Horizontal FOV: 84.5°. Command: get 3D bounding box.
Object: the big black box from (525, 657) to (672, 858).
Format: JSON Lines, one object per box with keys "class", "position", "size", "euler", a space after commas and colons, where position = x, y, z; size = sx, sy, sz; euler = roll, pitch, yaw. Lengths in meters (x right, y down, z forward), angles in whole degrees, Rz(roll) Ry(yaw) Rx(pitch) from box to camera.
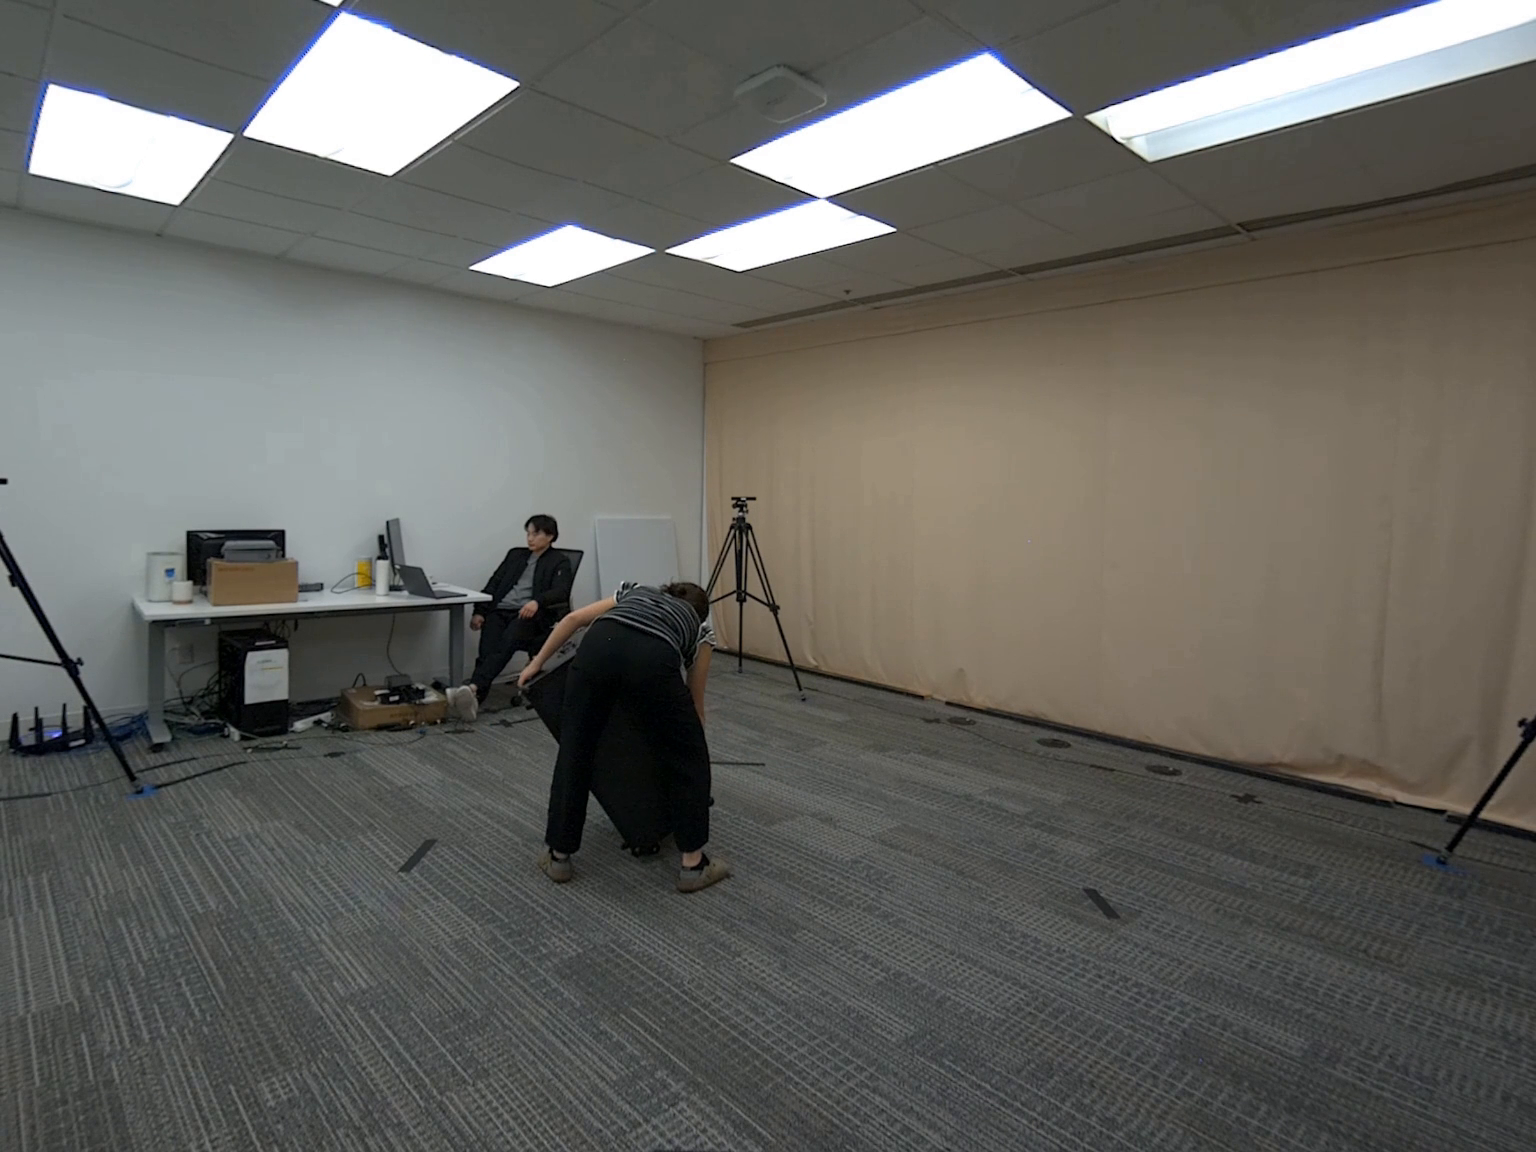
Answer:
{"class": "big black box", "position": [-0.611, 0.655, 3.385], "size": [0.395, 0.853, 0.527], "euler": [-32, 10, -6]}
